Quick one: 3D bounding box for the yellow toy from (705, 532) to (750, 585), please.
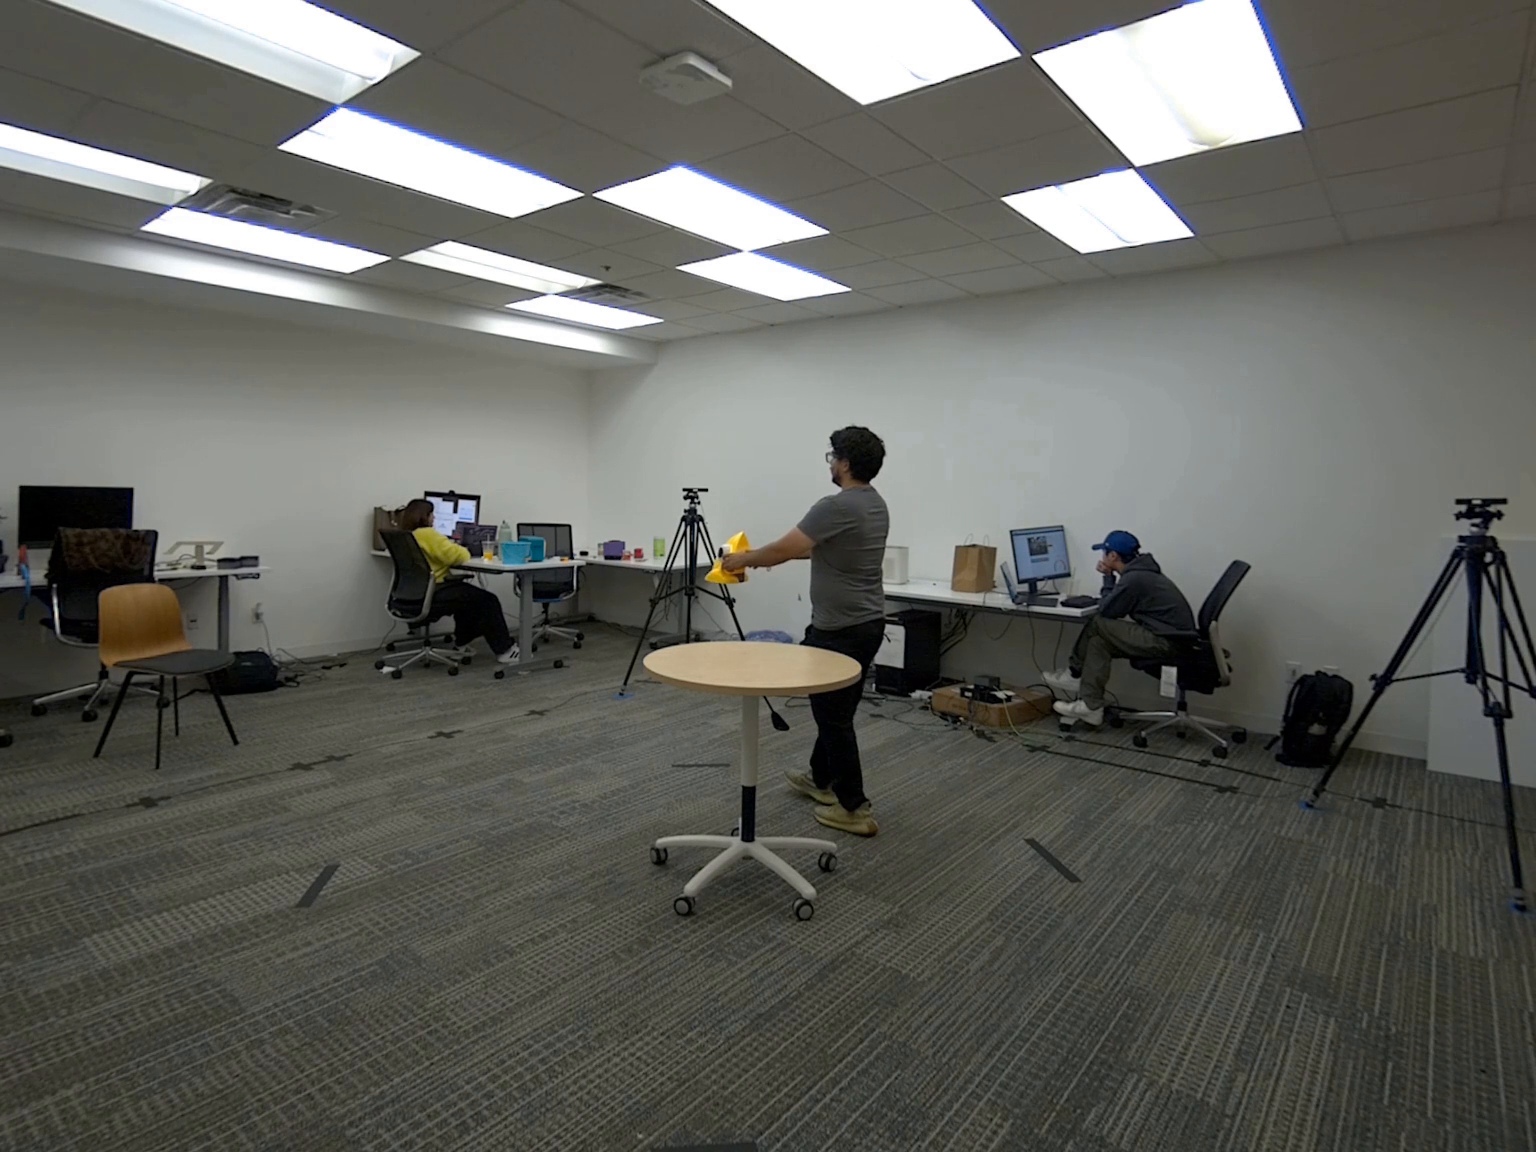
[{"bbox_3d":[-0.178,-0.097,3.856,0.199,0.229,0.199,8,7,31],"label":"yellow toy"}]
